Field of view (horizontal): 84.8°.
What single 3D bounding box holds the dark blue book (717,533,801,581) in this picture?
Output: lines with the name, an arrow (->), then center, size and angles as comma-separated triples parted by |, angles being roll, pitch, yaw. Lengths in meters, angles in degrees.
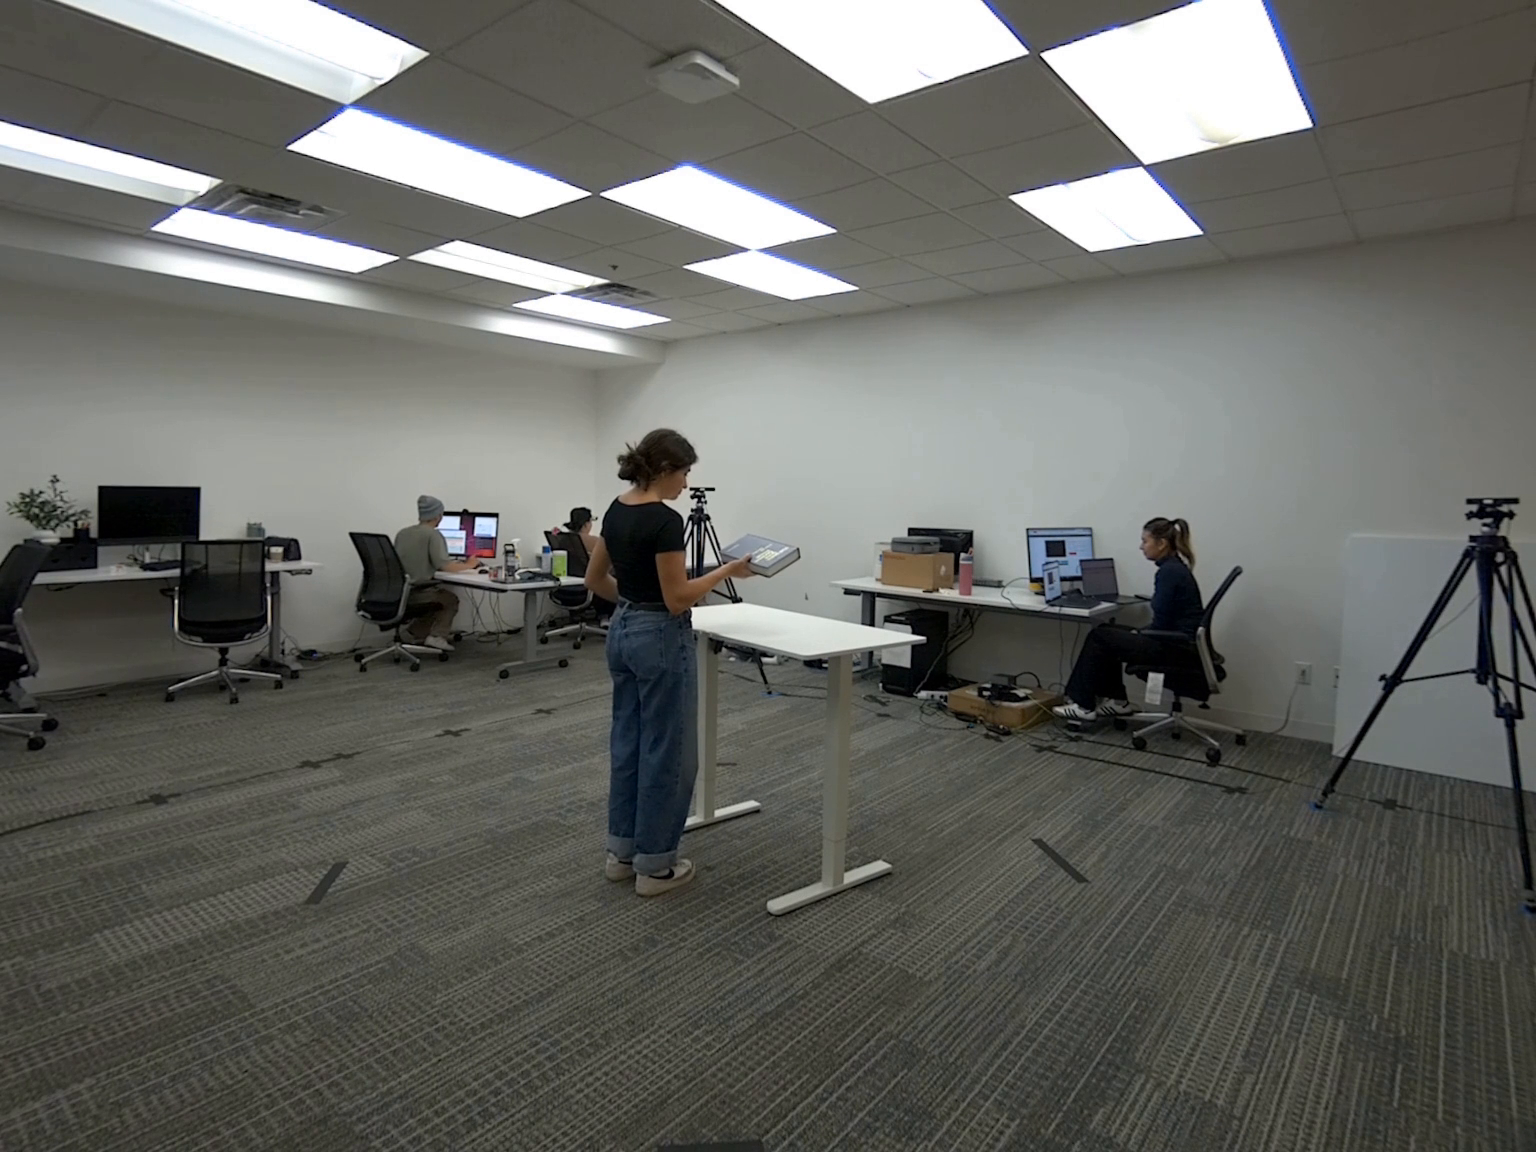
dark blue book -> -0.035, -0.073, 2.964 | 0.161, 0.044, 0.255 | -32, 34, -35
